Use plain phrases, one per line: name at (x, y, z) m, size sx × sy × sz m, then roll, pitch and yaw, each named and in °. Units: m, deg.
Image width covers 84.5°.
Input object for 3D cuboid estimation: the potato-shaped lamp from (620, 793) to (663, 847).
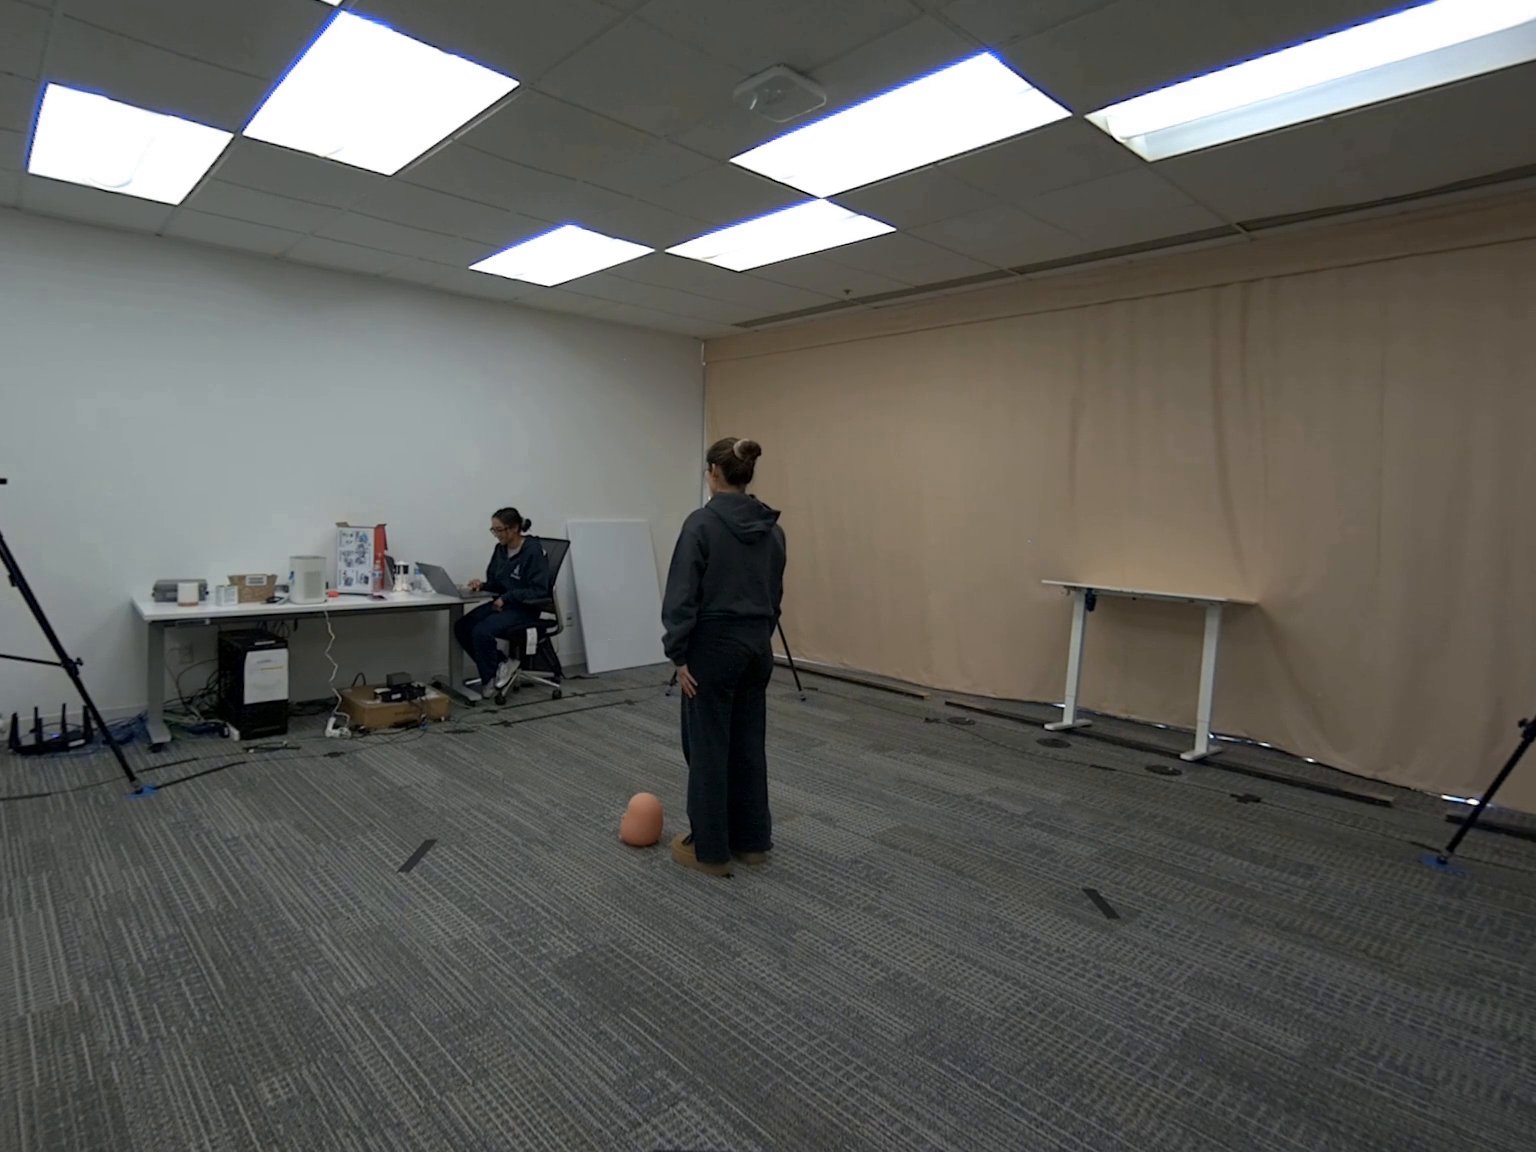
potato-shaped lamp at (-0.511, 0.966, 3.403) m, size 0.175 × 0.198 × 0.161 m, roll 4°, pitch 3°, yaw 38°
